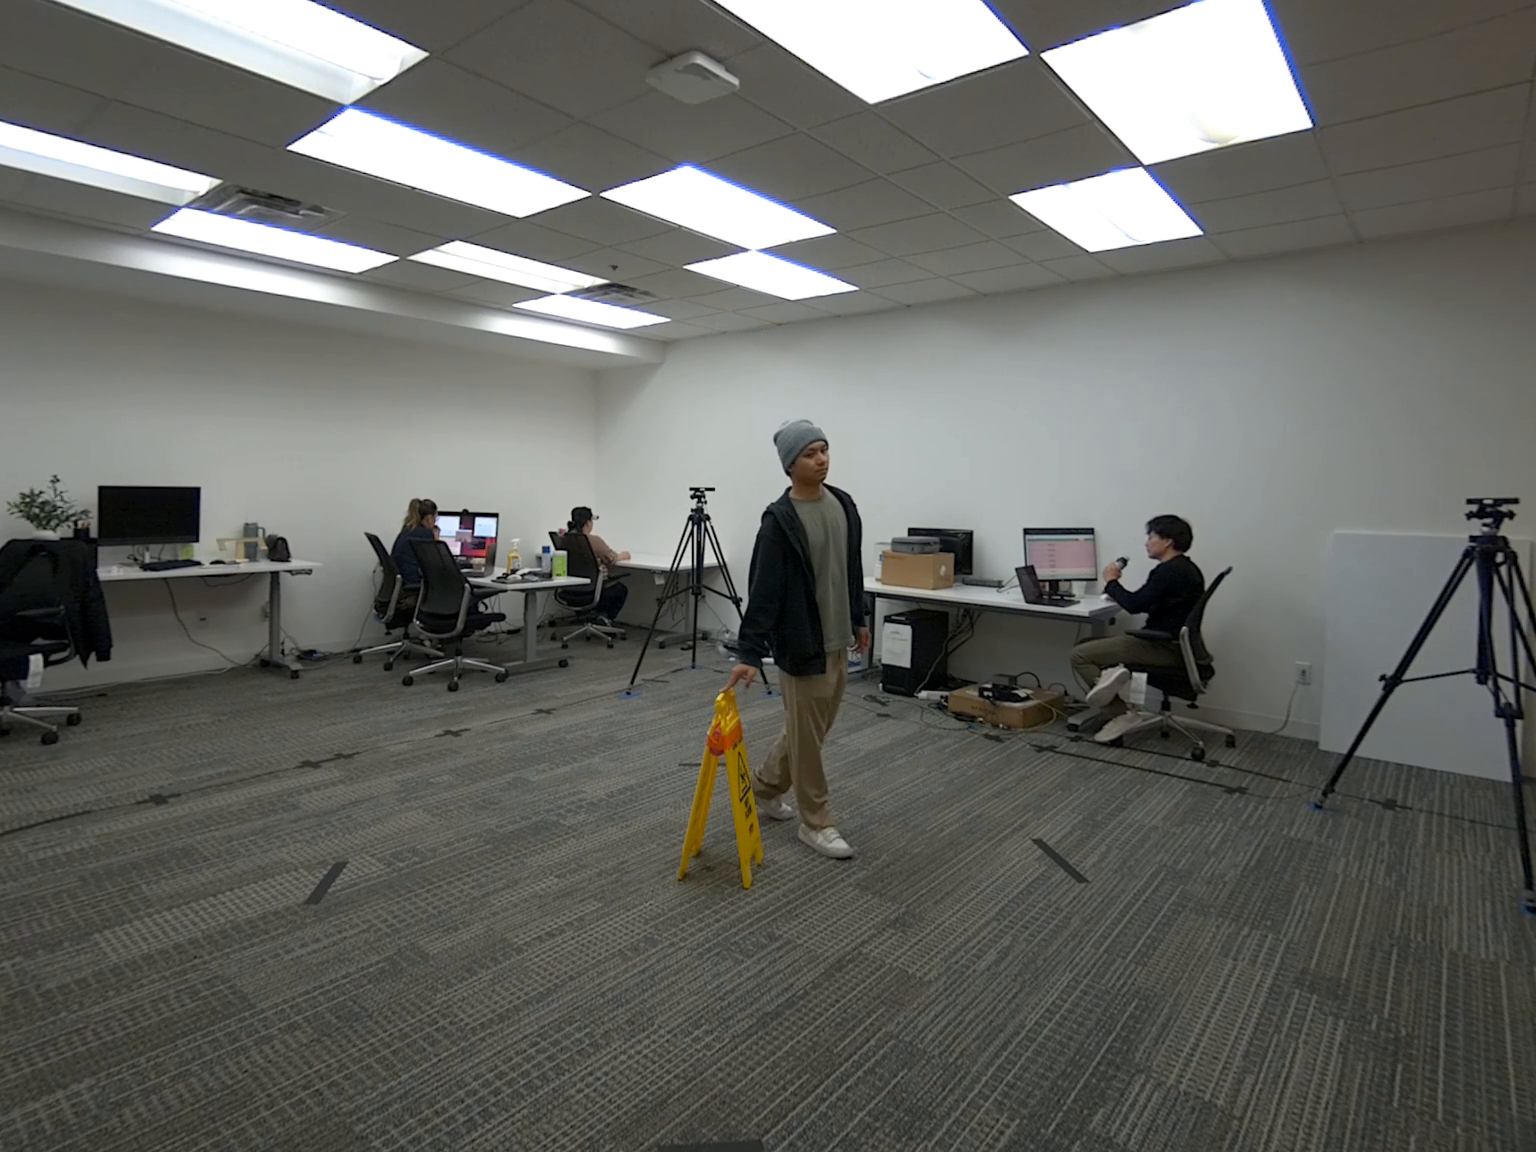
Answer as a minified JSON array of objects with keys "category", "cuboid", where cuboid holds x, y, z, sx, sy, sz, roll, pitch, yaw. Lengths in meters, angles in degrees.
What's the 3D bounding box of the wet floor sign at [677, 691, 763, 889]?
[{"category":"wet floor sign","cuboid":[-0.167,0.744,3.095,0.294,0.644,0.279,2,4,12]}]
